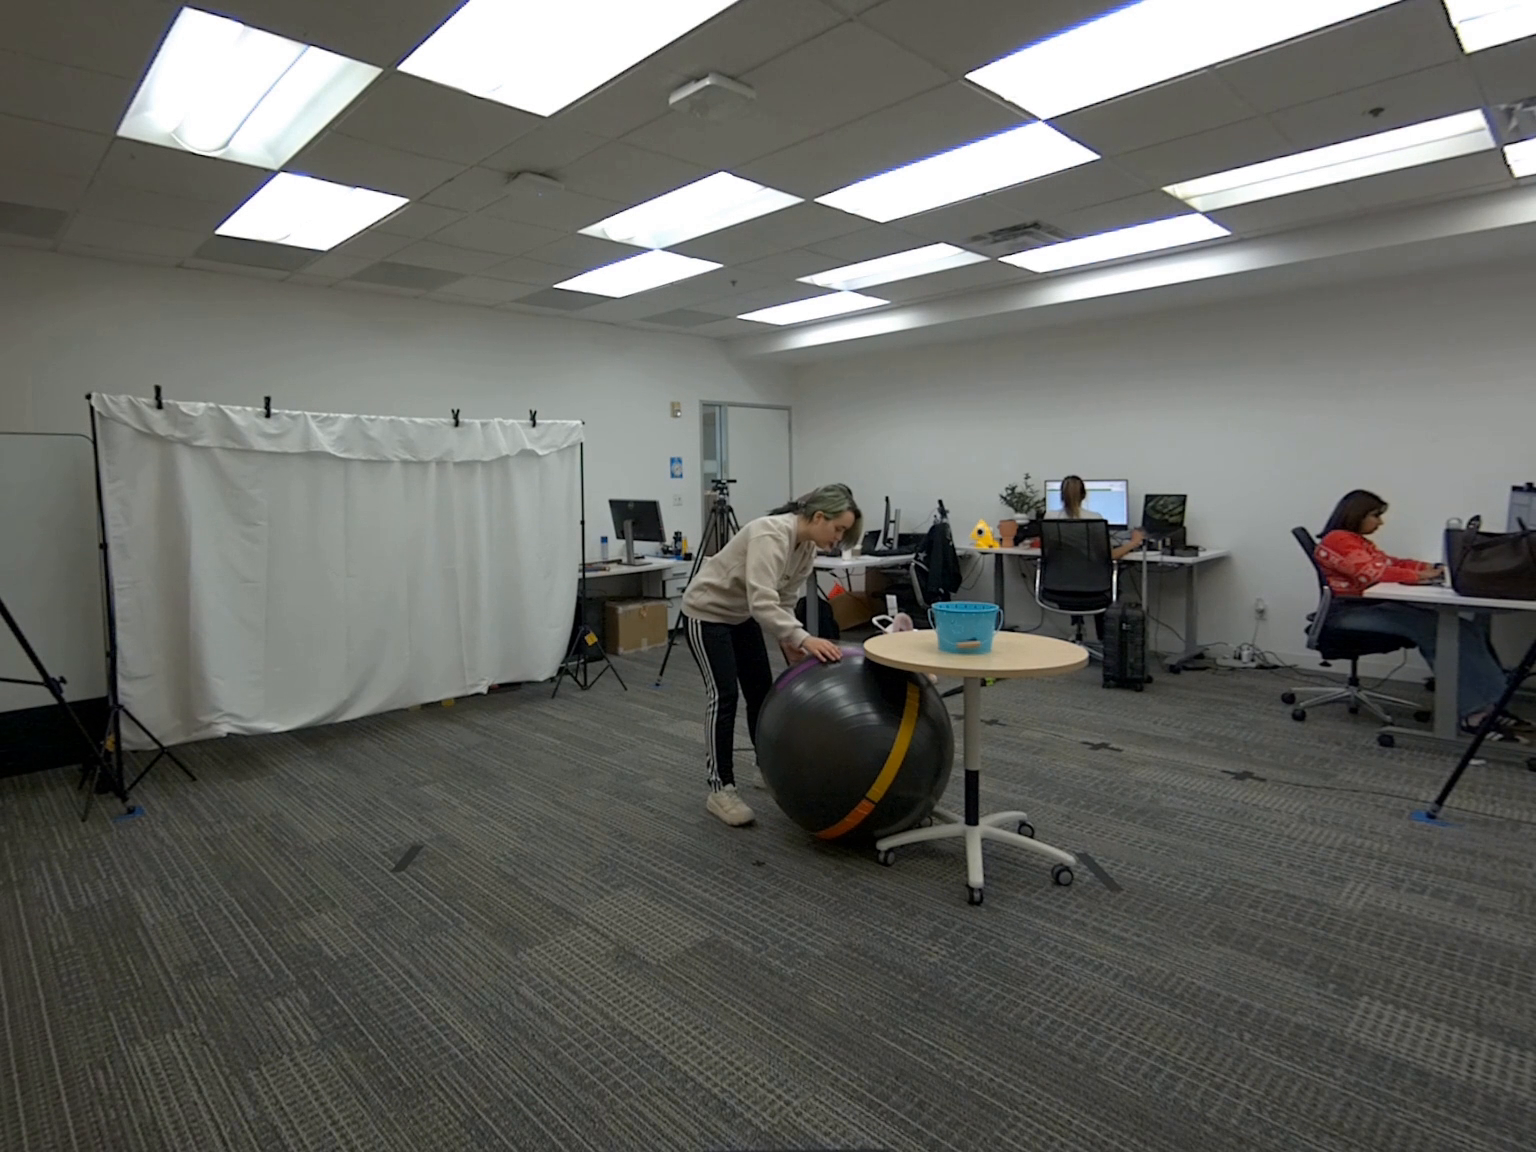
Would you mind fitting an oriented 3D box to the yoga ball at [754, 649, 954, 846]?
[{"bbox_3d":[0.325,0.644,3.313,0.757,0.755,0.762,-1,5,-2],"label":"yoga ball"}]
